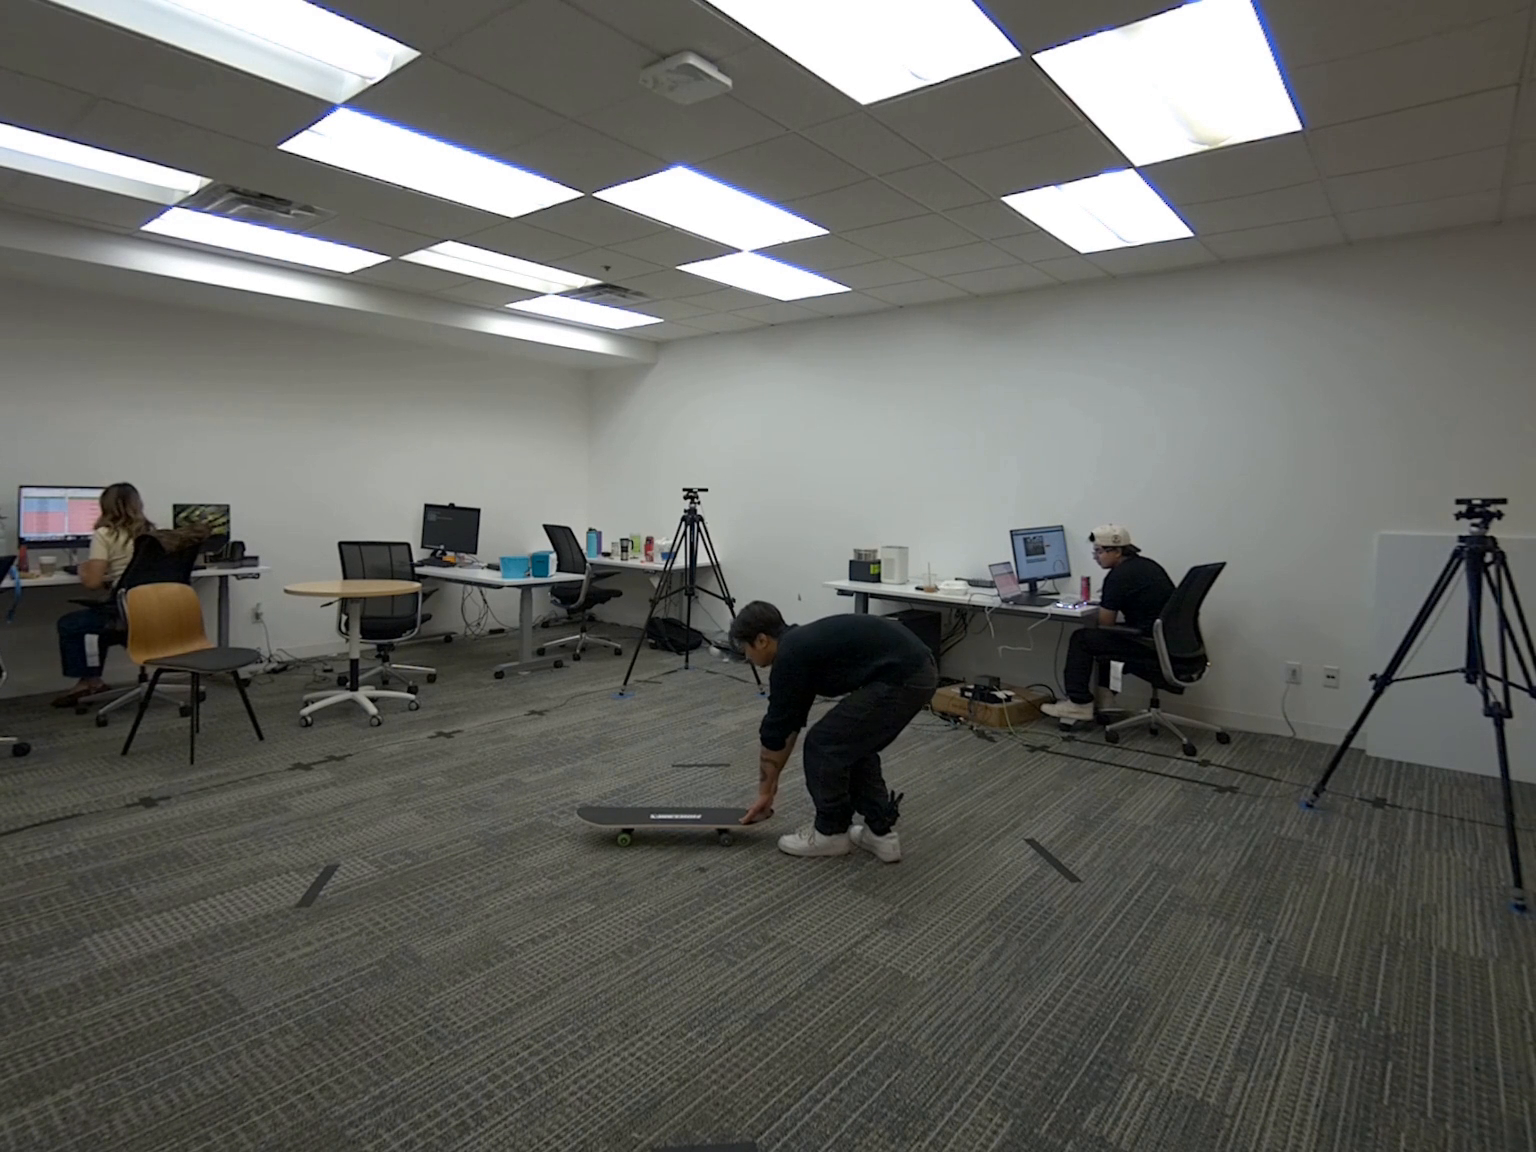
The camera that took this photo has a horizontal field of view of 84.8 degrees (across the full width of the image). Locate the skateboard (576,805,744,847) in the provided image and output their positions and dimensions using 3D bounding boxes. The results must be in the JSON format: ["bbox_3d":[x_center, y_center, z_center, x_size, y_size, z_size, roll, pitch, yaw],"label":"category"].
[{"bbox_3d":[-0.385,0.986,3.387,0.782,0.110,0.195,1,4,-3],"label":"skateboard"}]
